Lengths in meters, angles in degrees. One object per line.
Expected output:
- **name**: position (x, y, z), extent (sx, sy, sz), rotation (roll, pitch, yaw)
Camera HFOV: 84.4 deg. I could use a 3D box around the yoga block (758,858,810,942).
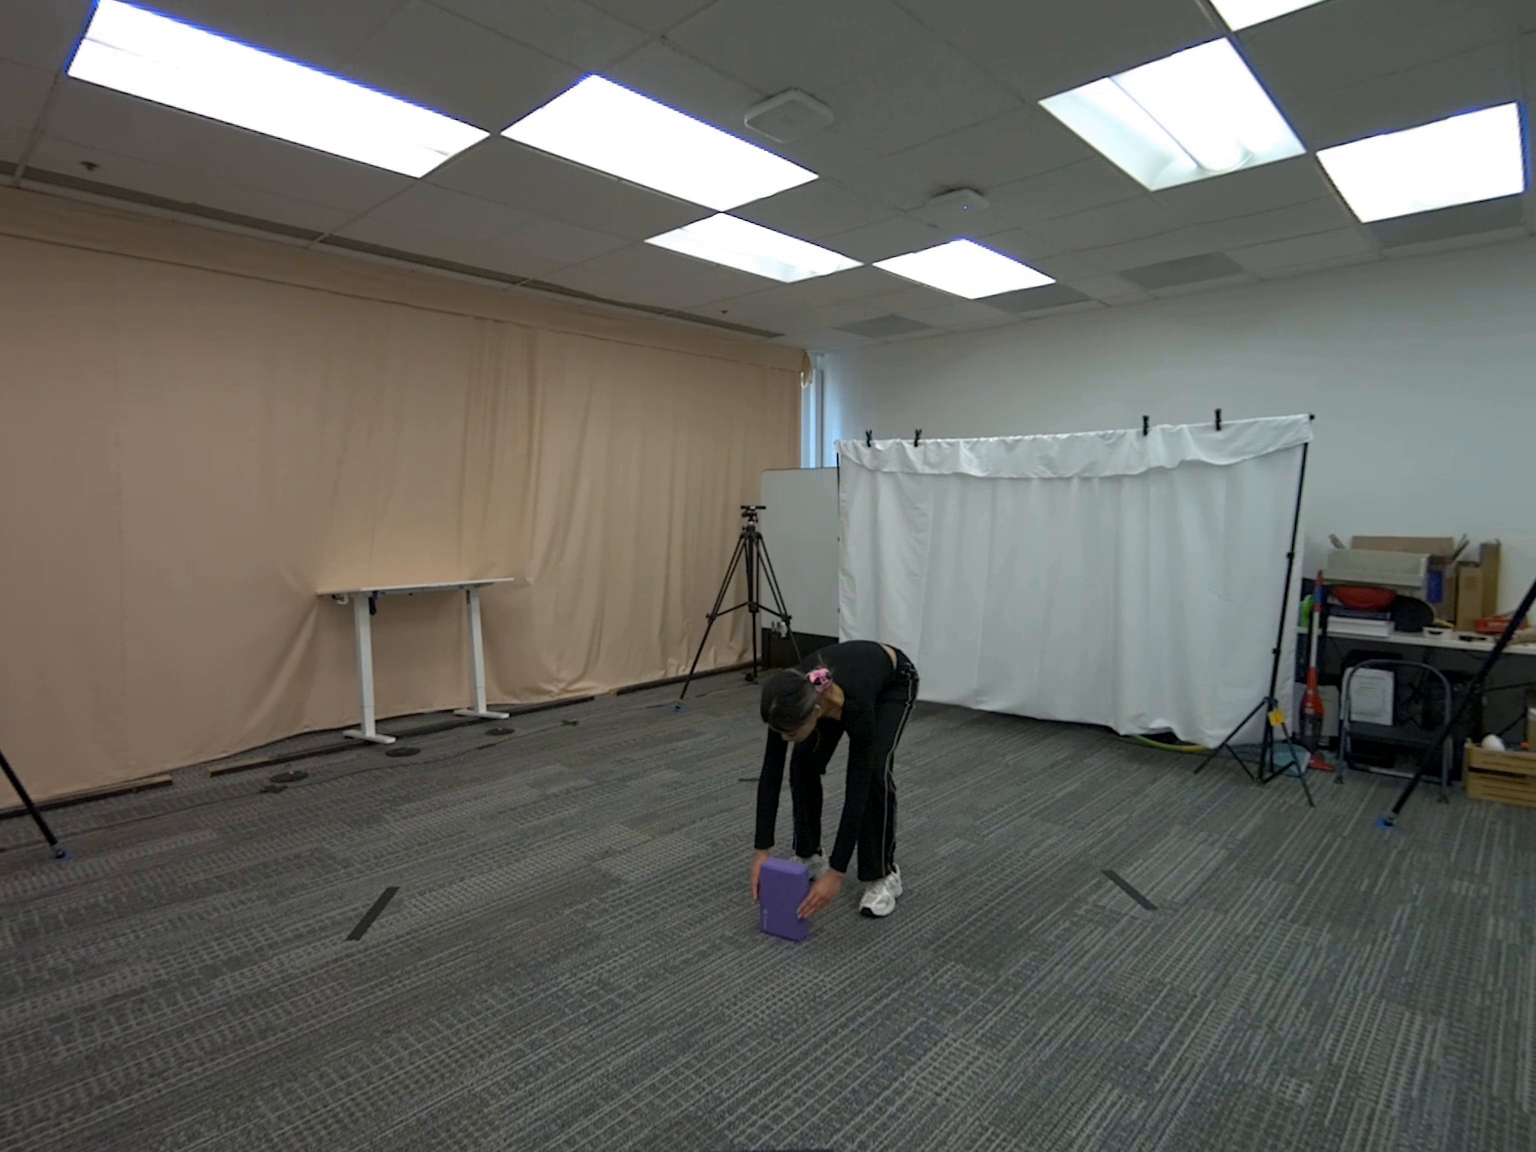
- **yoga block**: position (0.055, 1.049, 2.740), extent (0.153, 0.228, 0.075), rotation (2, 8, 25)
